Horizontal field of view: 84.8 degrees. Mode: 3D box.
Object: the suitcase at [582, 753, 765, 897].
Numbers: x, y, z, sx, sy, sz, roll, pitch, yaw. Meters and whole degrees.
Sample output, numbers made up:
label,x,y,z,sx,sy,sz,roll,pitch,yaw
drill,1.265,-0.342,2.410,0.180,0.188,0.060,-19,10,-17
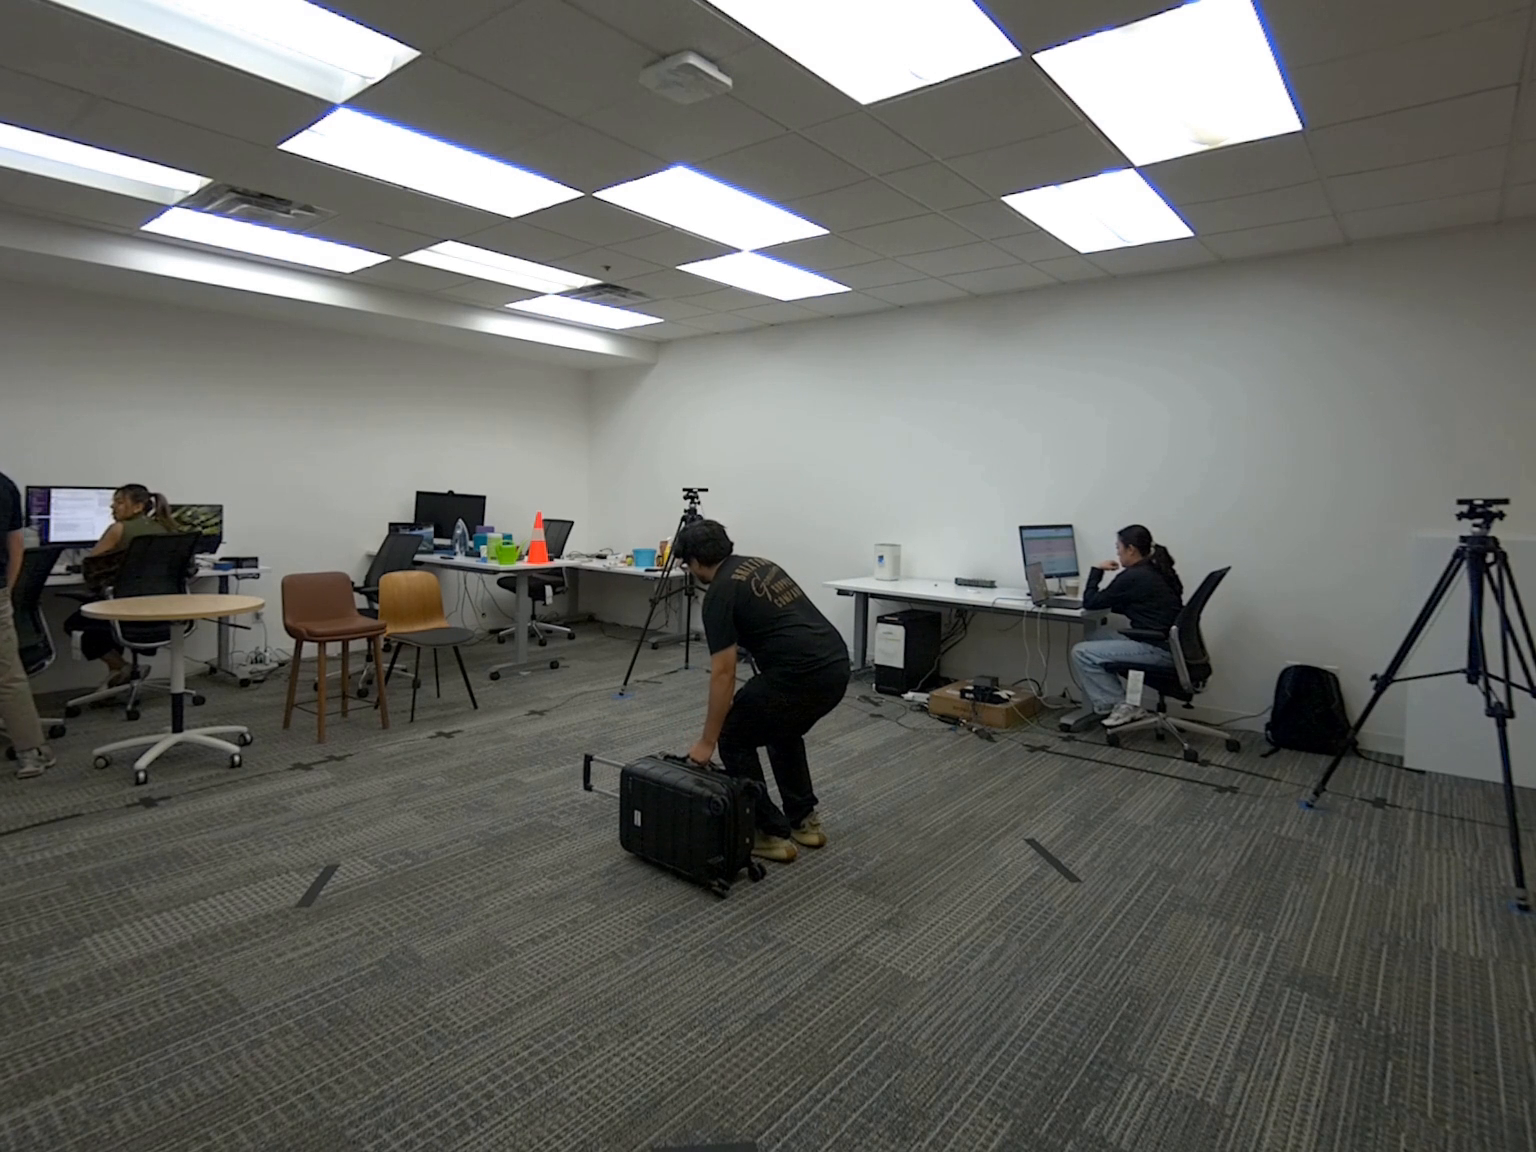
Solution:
label,x,y,z,sx,sy,sz,roll,pitch,yaw
suitcase,-0.477,0.864,3.247,1.011,0.383,0.249,4,5,39
